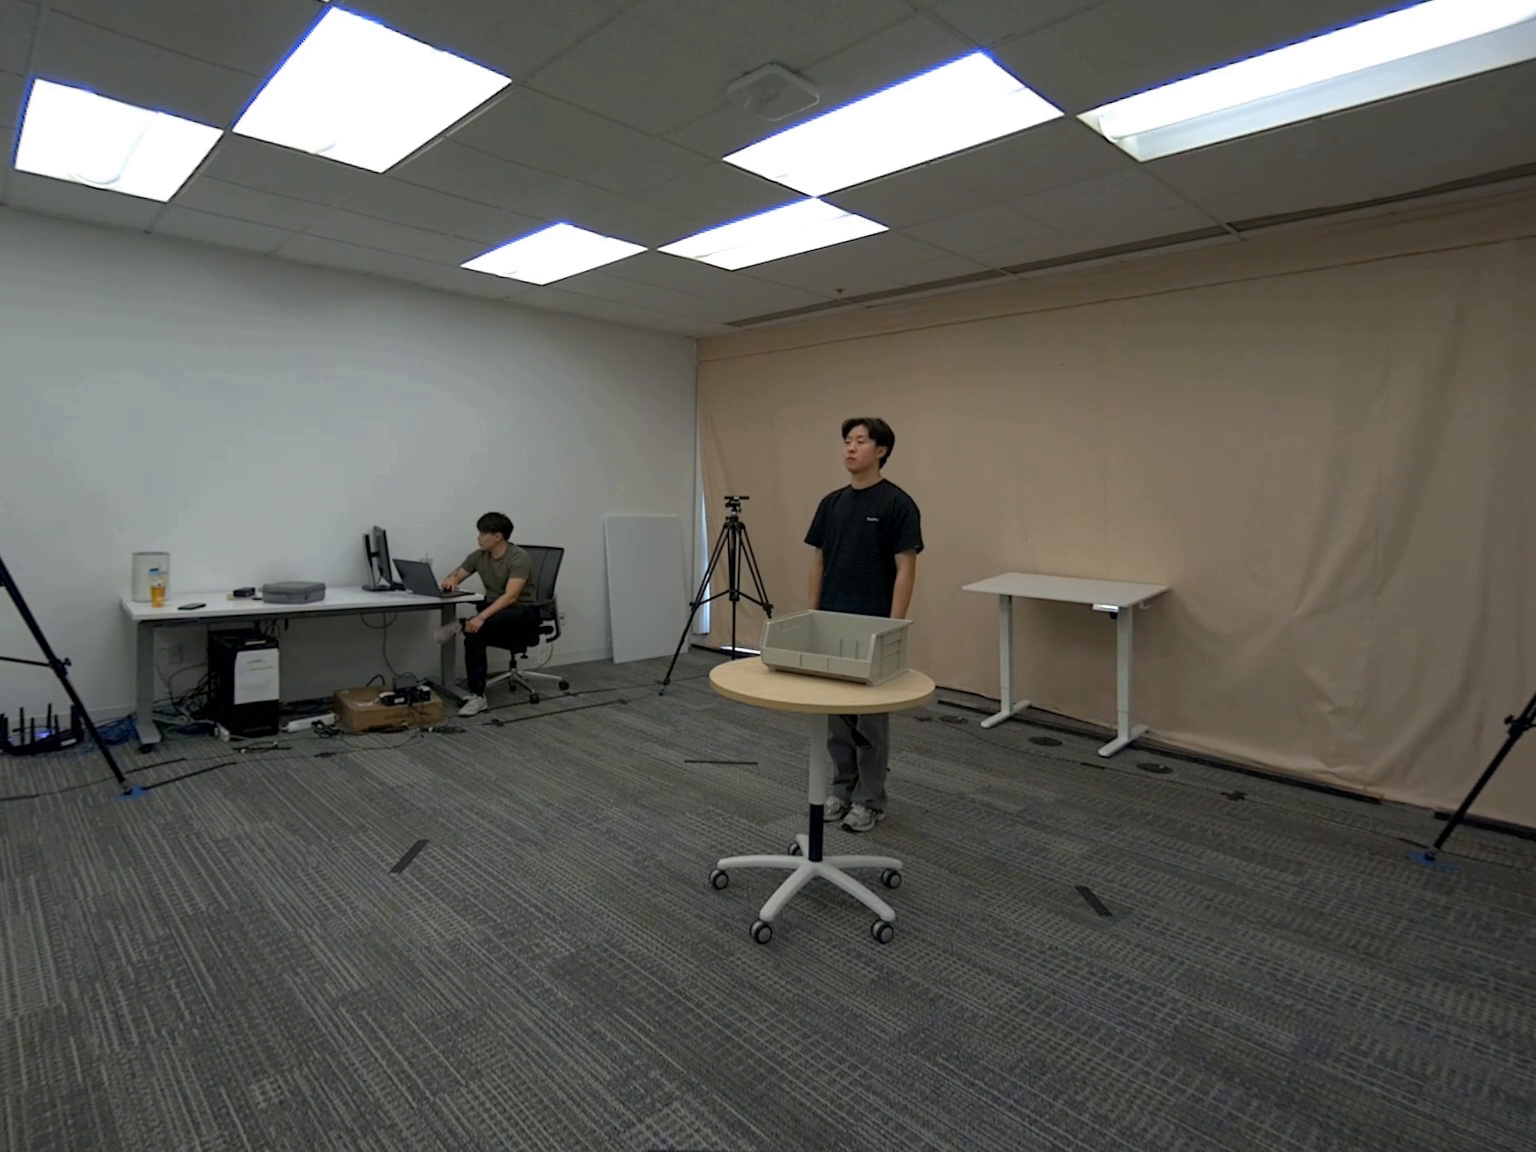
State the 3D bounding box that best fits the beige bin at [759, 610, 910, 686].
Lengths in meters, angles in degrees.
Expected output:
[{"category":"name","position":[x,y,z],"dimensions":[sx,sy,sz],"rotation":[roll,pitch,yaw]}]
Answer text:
[{"category":"beige bin","position":[0.241,0.251,2.978],"dimensions":[0.432,0.188,0.370],"rotation":[4,4,31]}]
